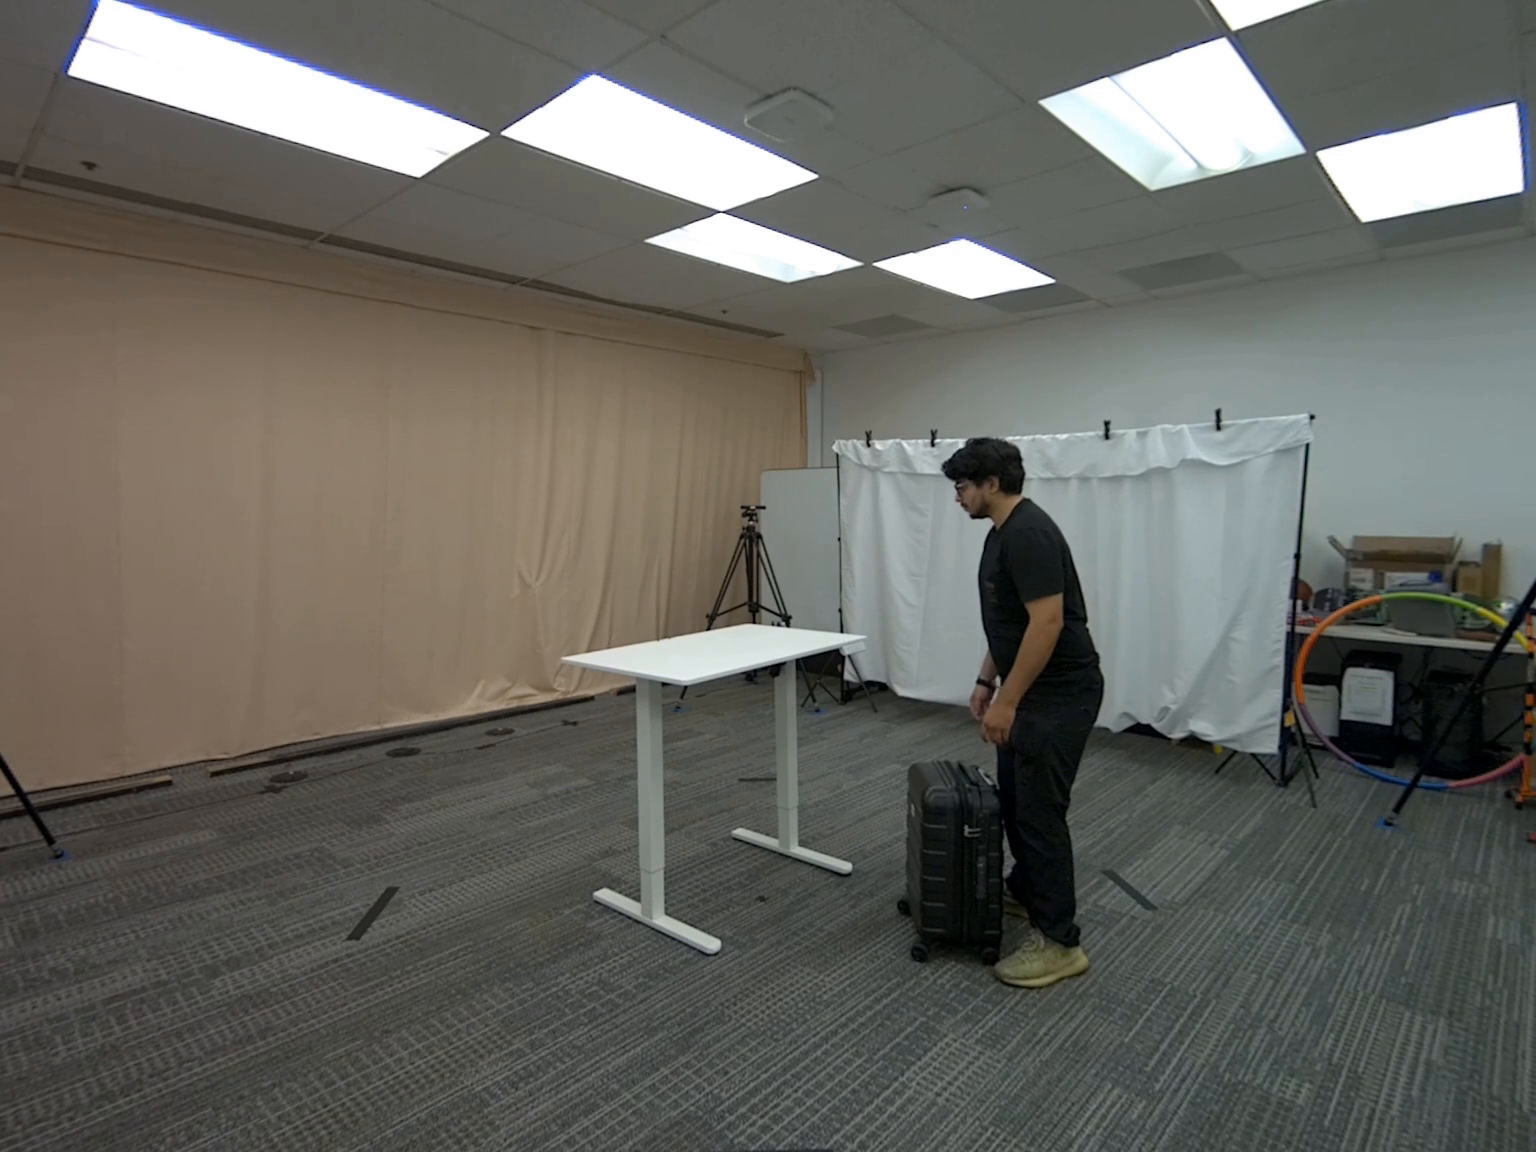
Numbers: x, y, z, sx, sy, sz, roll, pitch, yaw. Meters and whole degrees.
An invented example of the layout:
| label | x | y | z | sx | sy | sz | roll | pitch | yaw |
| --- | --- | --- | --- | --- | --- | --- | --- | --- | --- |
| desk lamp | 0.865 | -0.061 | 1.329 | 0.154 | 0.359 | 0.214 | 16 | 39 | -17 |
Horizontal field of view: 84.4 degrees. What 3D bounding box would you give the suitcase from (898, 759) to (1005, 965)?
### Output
| label | x | y | z | sx | sy | sz | roll | pitch | yaw |
| --- | --- | --- | --- | --- | --- | --- | --- | --- | --- |
| suitcase | 0.598 | 0.896 | 2.690 | 0.250 | 0.548 | 0.374 | 2 | 4 | 4 |
